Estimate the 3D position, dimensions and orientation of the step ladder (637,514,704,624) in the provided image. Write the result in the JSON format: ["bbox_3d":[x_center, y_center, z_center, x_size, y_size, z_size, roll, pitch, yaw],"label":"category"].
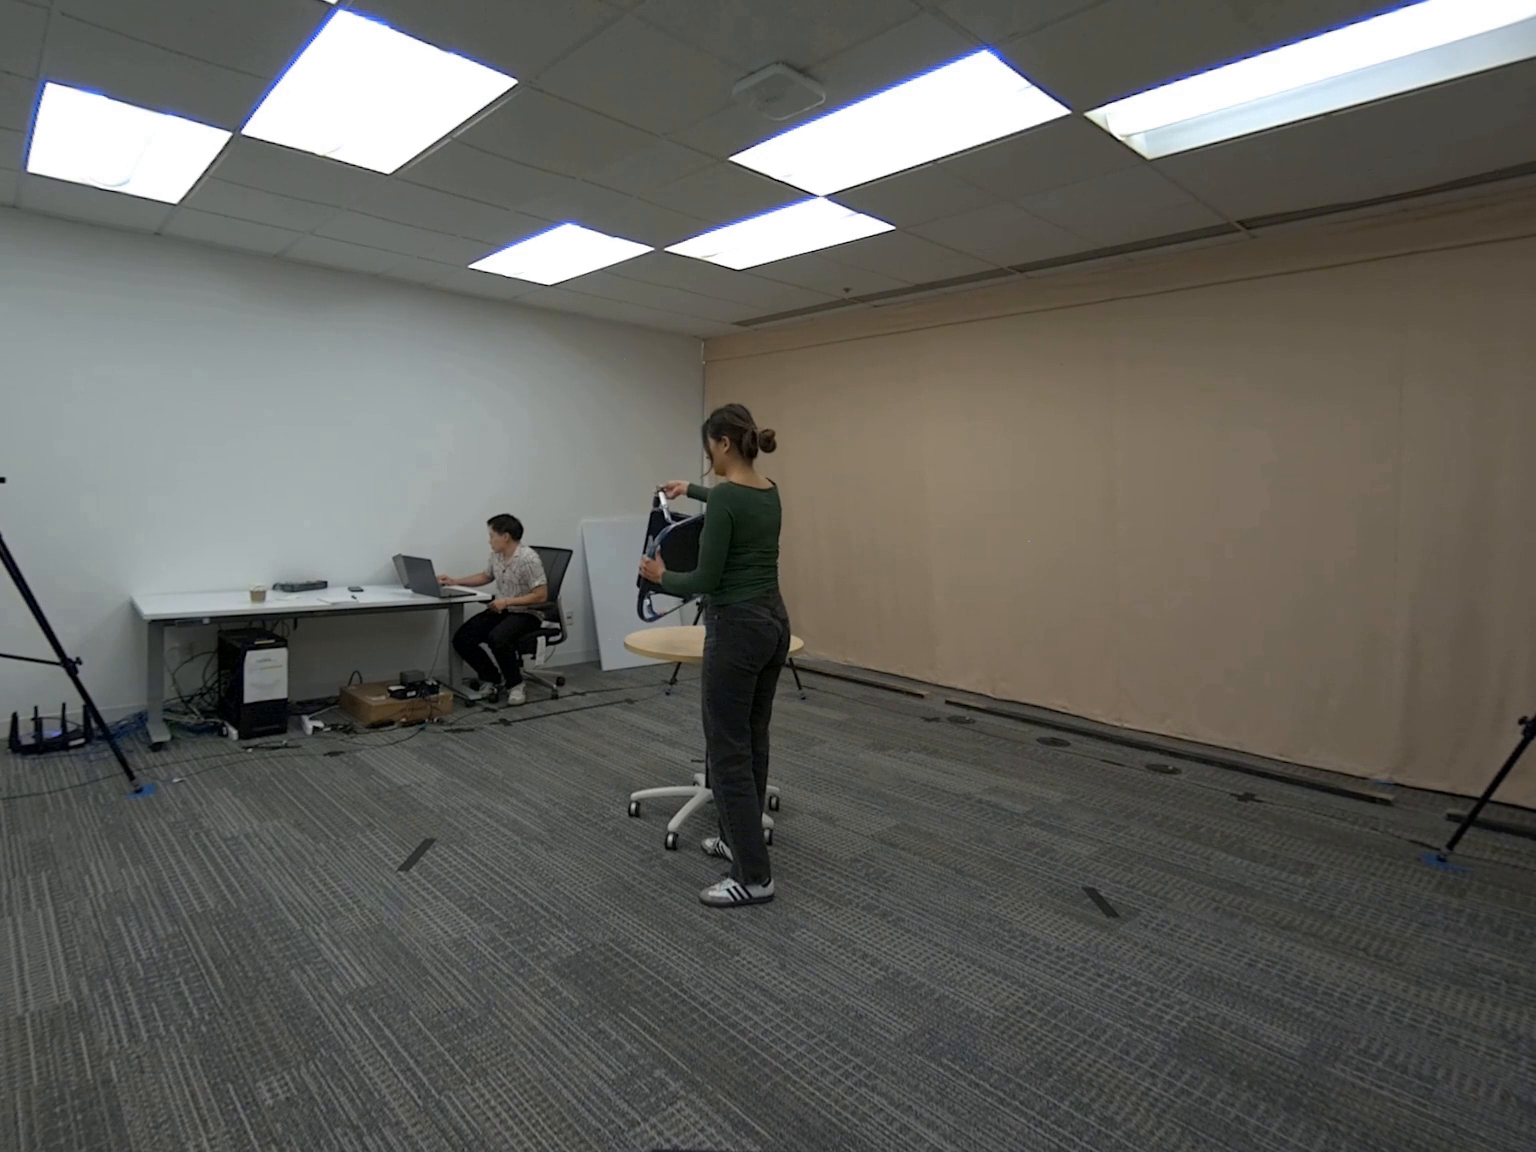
[{"bbox_3d":[-0.374,-0.060,3.389,0.350,0.426,0.612,12,19,0],"label":"step ladder"}]
